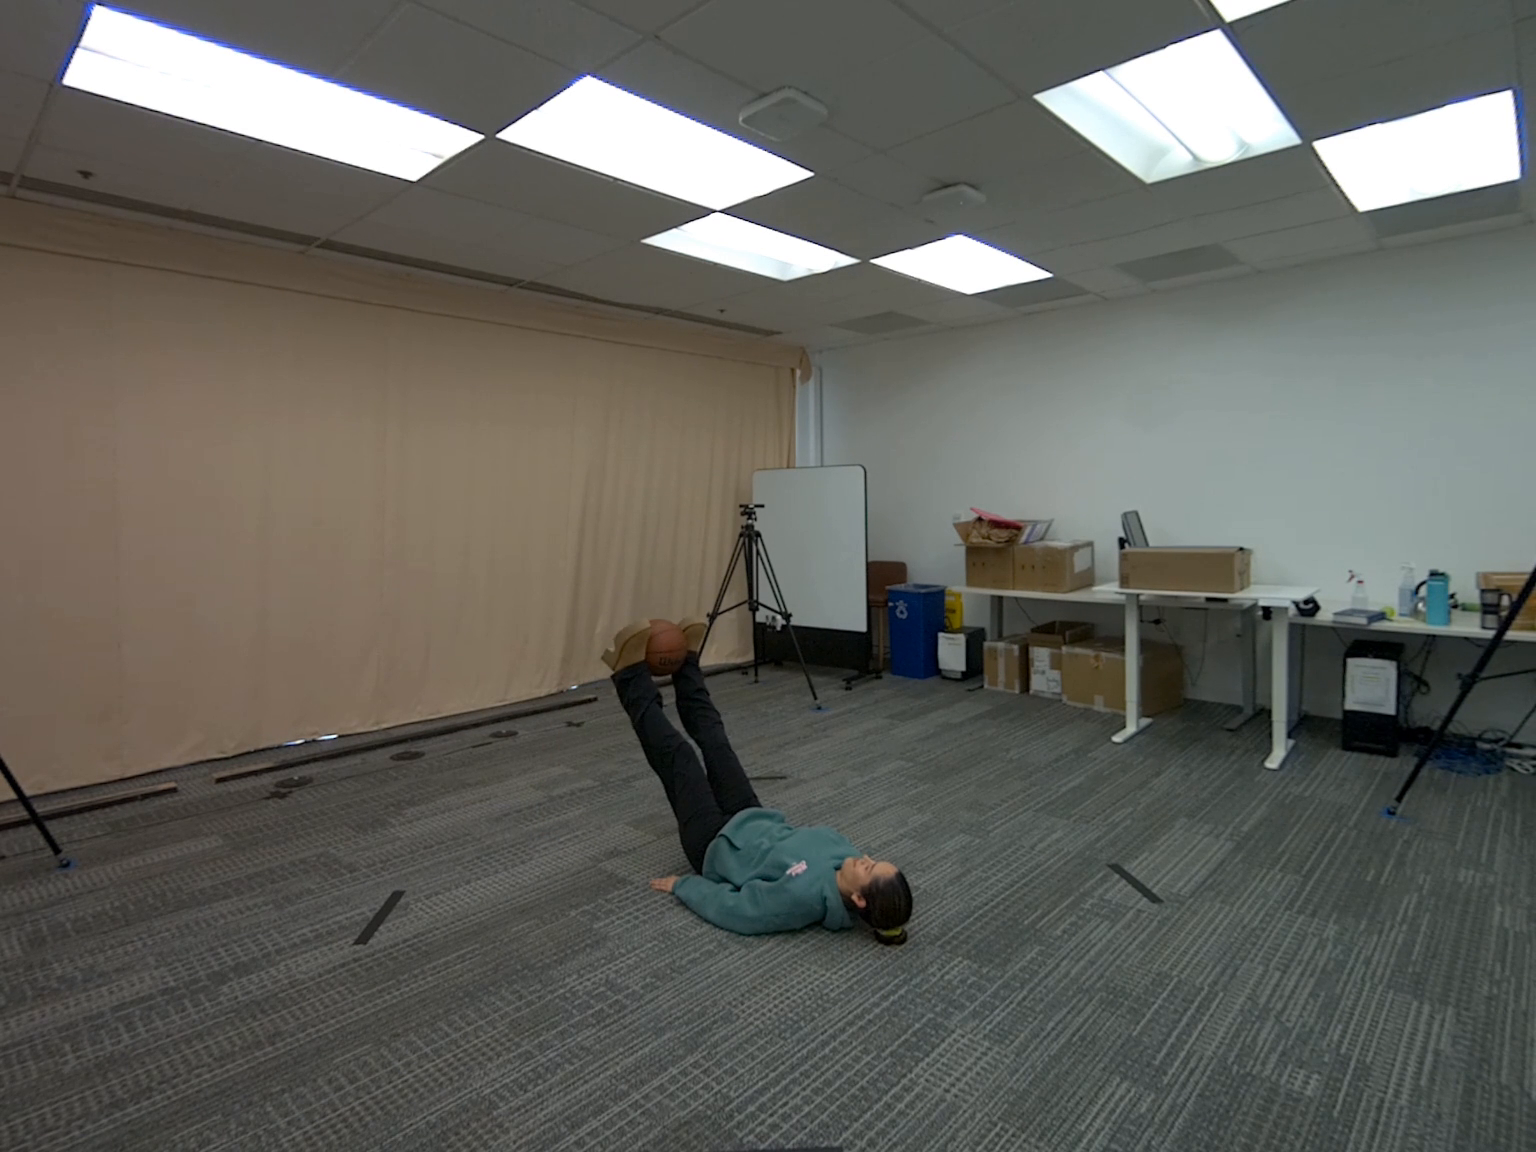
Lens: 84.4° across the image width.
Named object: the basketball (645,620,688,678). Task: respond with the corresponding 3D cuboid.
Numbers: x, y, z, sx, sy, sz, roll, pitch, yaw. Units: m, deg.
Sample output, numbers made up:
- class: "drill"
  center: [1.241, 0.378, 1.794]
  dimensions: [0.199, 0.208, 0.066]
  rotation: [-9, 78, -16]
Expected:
- class: "basketball"
  center: [-0.452, 0.304, 3.462]
  dimensions: [0.236, 0.235, 0.237]
  rotation: [0, 4, -2]
